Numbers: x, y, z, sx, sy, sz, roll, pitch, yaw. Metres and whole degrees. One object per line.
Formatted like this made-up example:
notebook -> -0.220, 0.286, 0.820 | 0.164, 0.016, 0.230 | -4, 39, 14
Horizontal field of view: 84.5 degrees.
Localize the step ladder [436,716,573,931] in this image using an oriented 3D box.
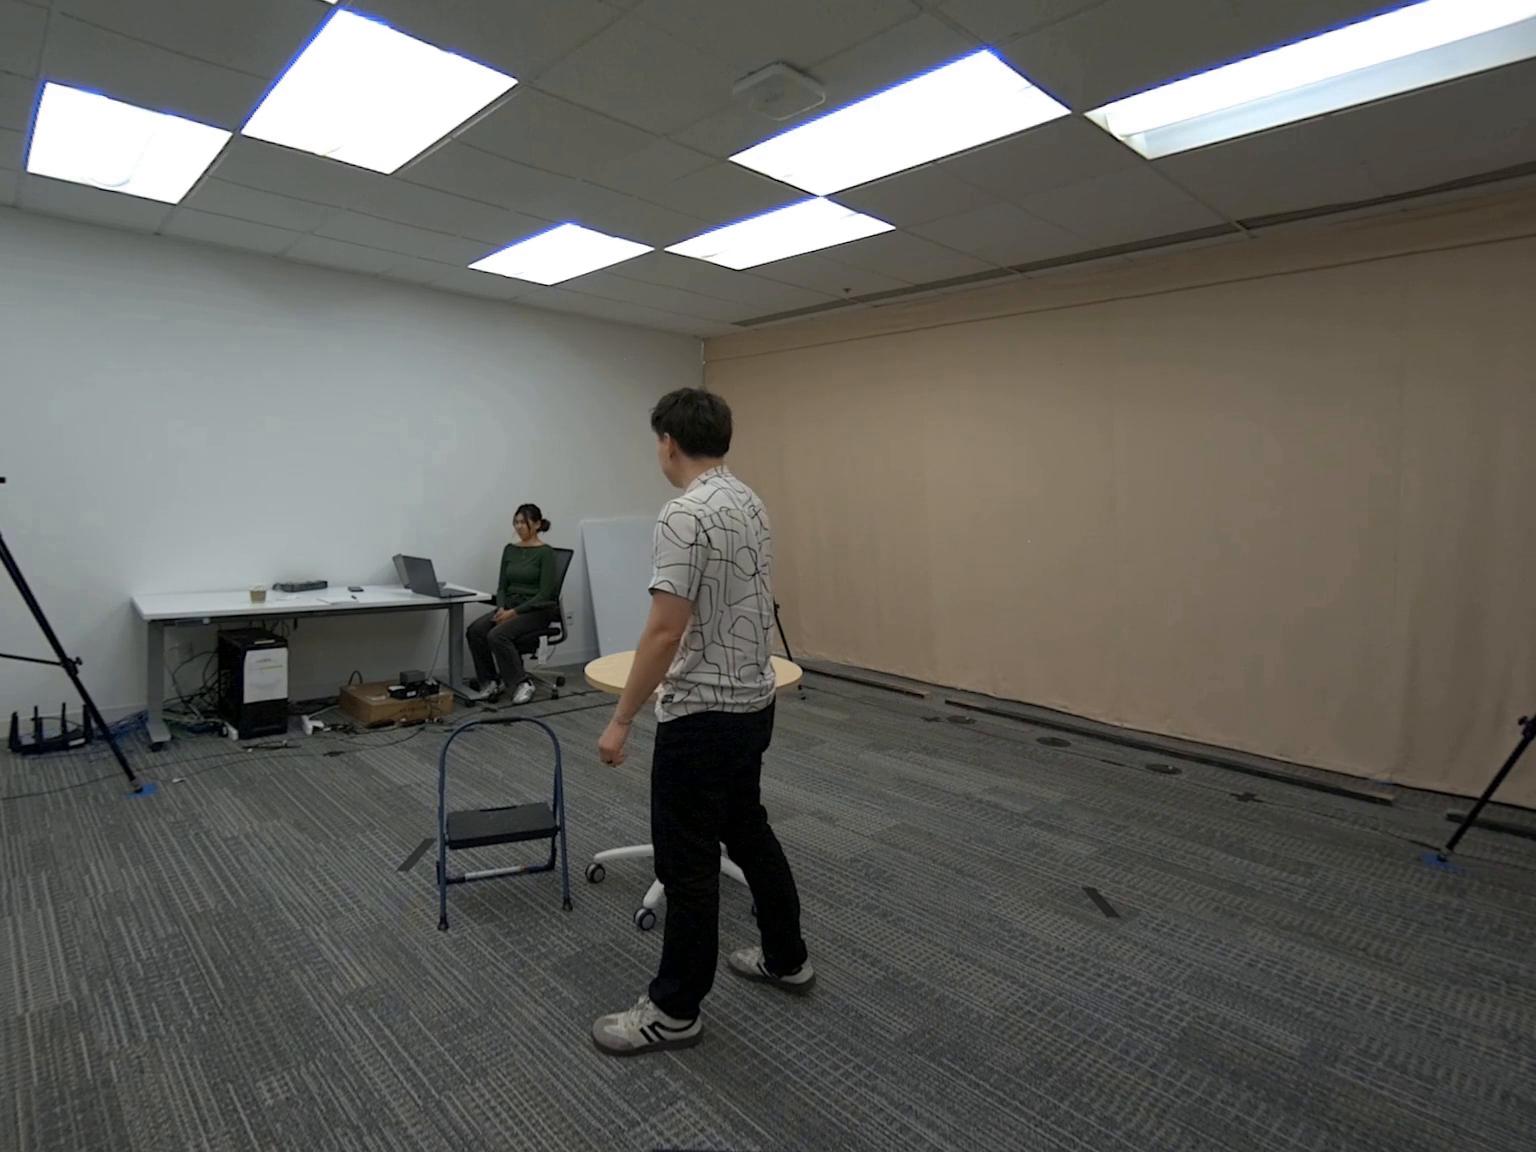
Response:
step ladder -> -0.916, 0.807, 2.880 | 0.423, 0.604, 0.356 | -1, 4, -24
